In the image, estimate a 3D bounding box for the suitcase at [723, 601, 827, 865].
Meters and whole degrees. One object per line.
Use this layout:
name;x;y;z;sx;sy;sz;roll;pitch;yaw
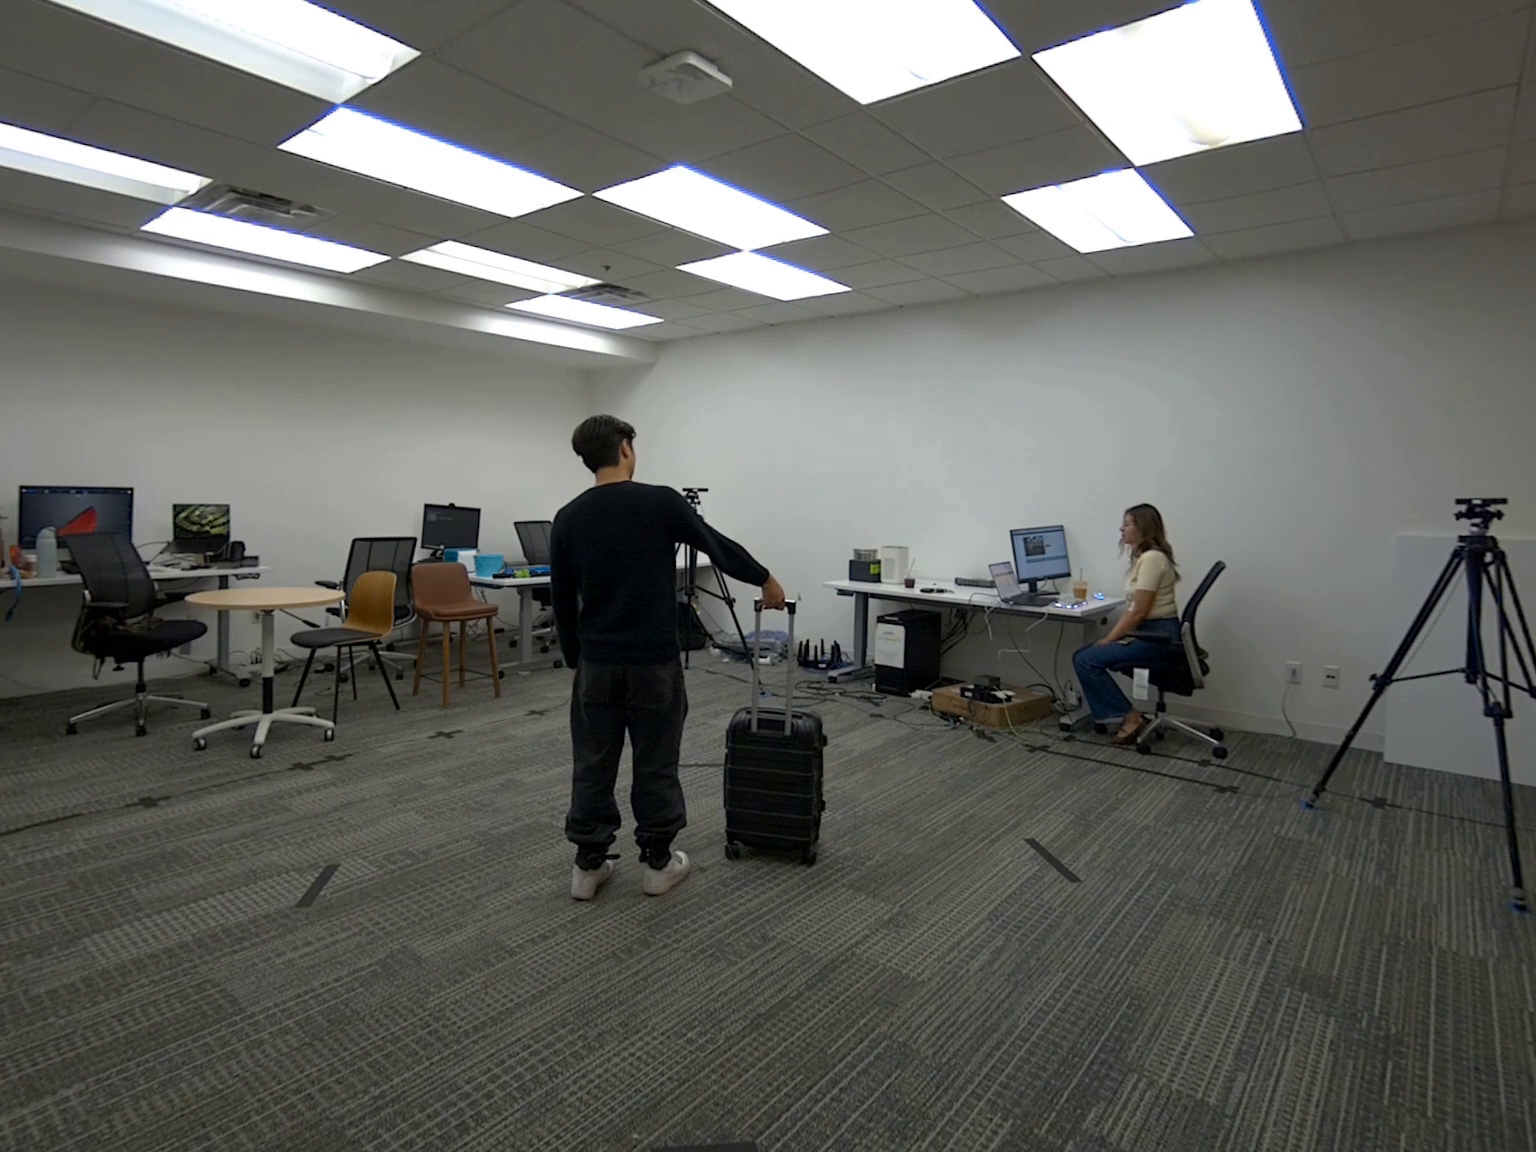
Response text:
suitcase;0.020;0.578;3.292;0.389;0.978;0.254;2;1;10
